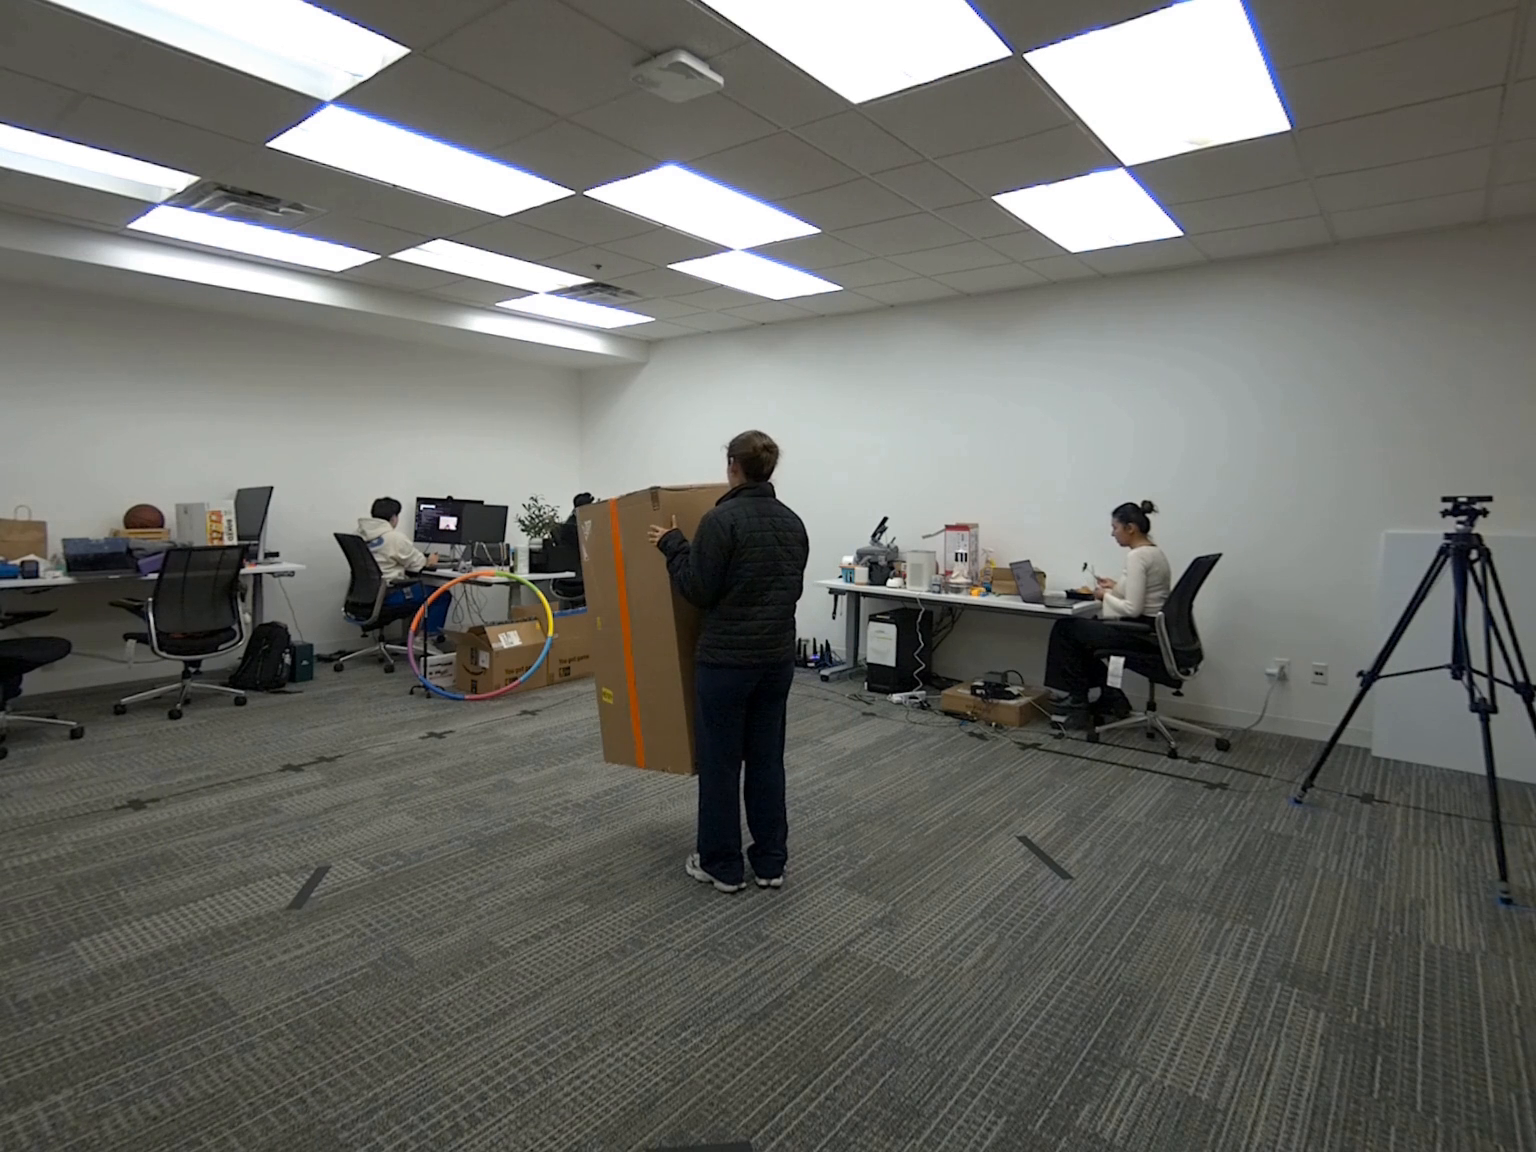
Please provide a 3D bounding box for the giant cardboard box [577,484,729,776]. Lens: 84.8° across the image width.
[{"bbox_3d":[-0.354,0.190,3.338,0.414,1.029,0.592,-5,-3,-40],"label":"giant cardboard box"}]
